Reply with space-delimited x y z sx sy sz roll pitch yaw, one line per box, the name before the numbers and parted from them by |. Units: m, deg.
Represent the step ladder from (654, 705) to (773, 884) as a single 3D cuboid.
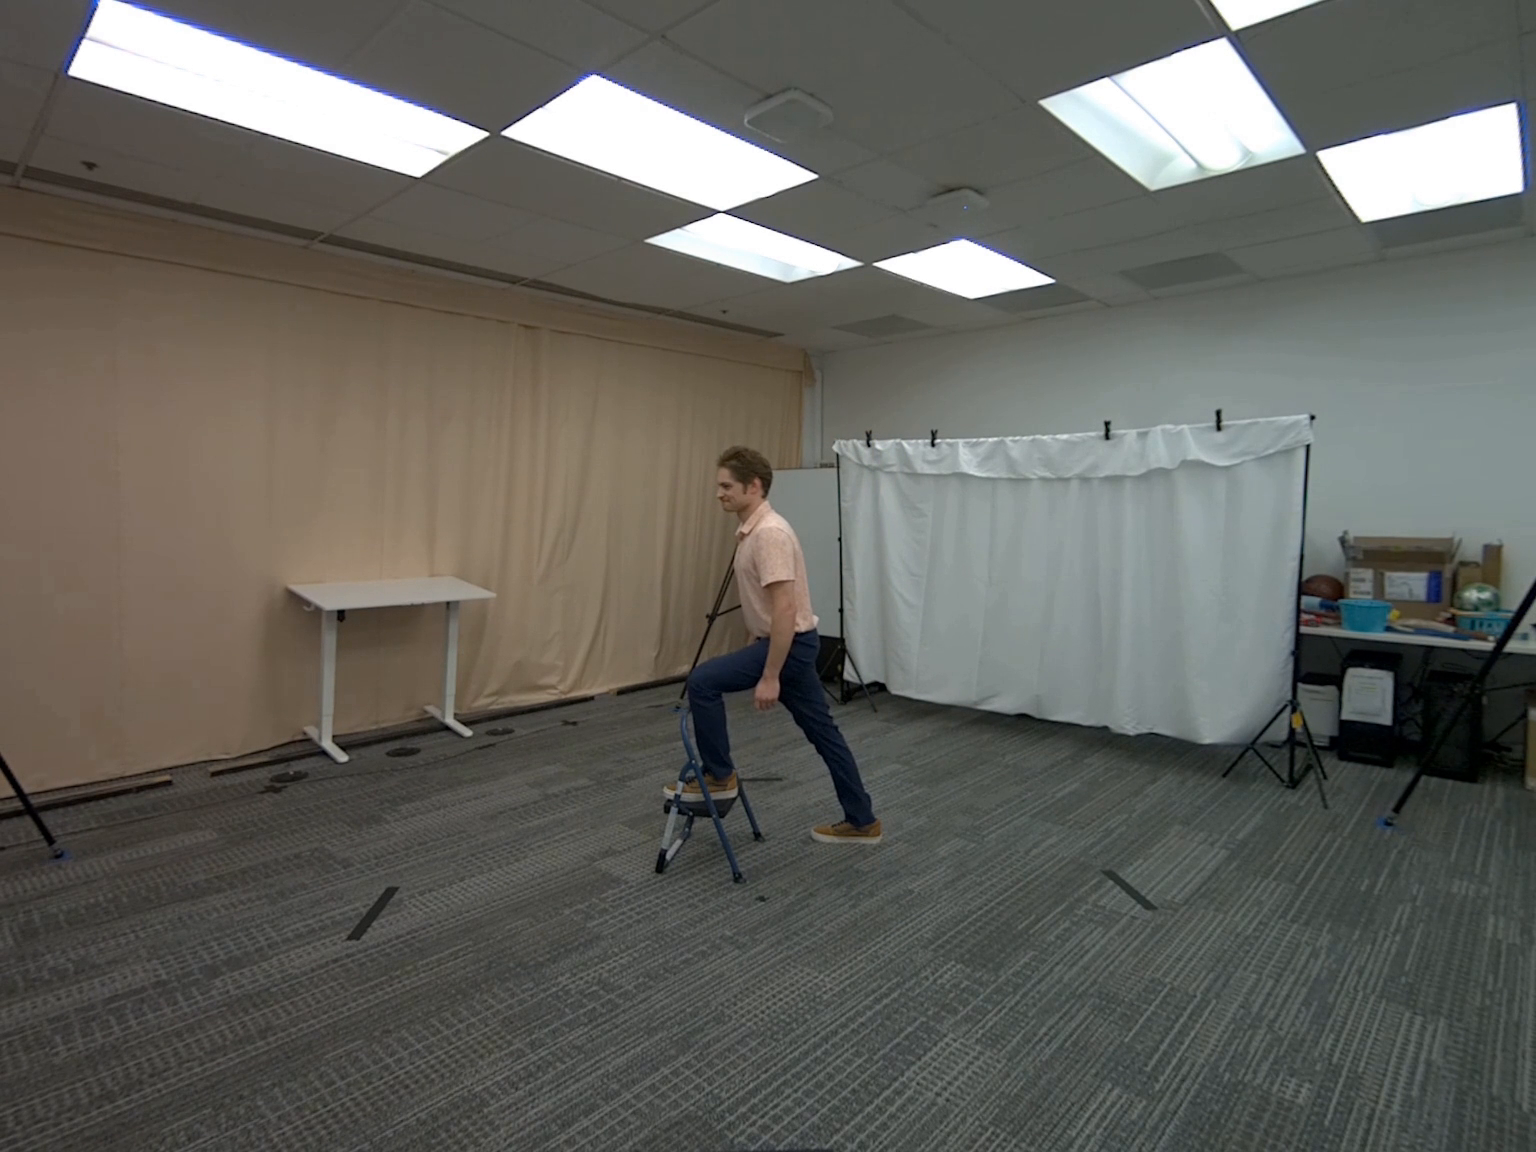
step ladder | -0.226 0.812 3.337 0.354 0.605 0.426 0 3 11
